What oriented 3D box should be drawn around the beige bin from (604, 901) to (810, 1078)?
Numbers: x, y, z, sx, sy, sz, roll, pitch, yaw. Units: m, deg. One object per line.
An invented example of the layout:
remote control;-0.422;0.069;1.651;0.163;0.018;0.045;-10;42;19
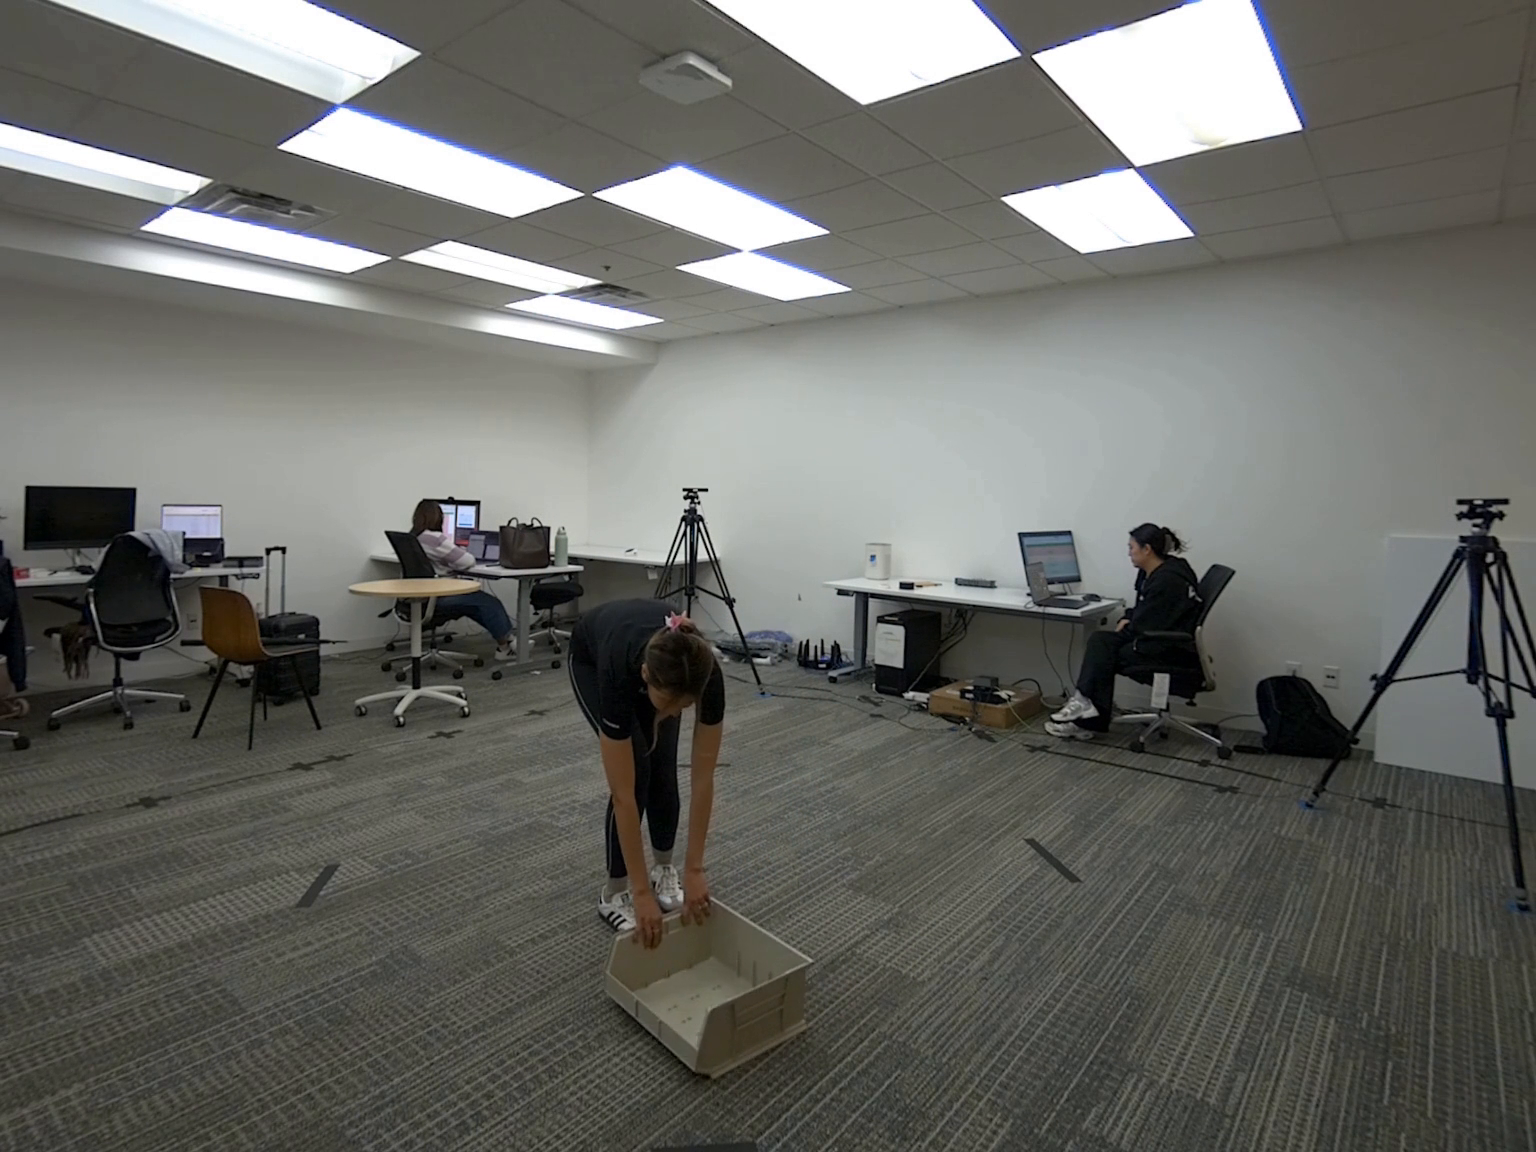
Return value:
beige bin;-0.171;1.066;2.243;0.366;0.188;0.437;-2;5;-42
